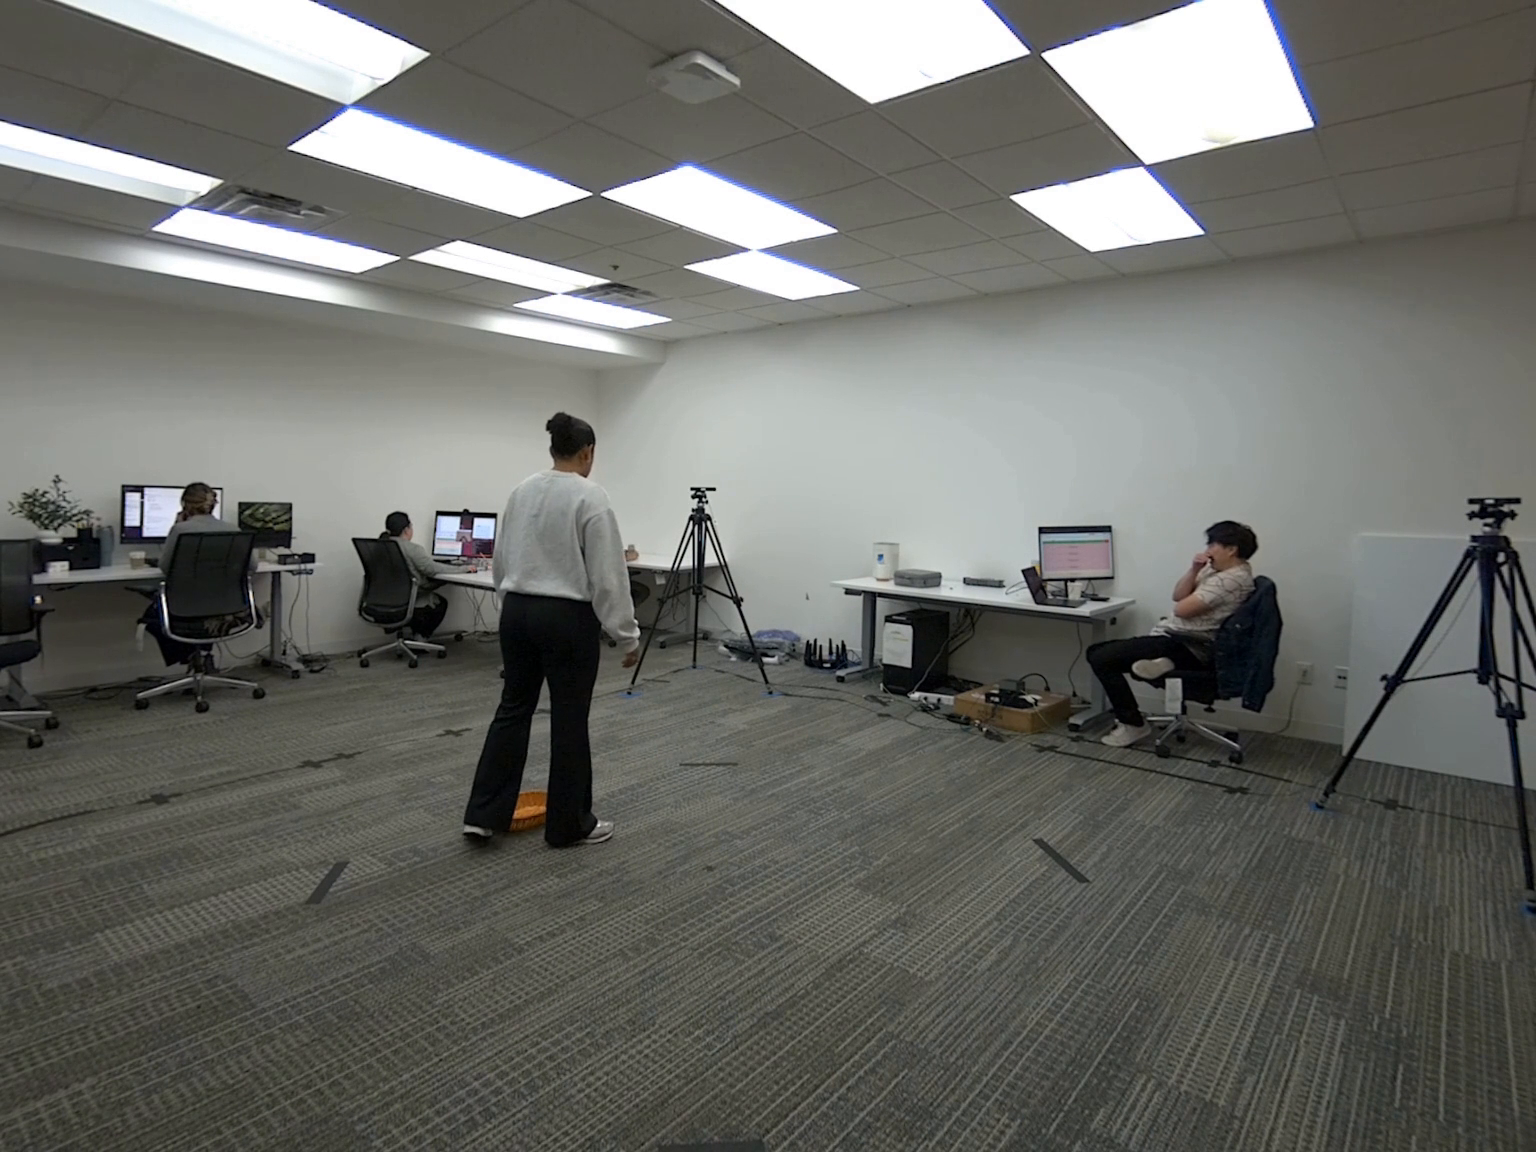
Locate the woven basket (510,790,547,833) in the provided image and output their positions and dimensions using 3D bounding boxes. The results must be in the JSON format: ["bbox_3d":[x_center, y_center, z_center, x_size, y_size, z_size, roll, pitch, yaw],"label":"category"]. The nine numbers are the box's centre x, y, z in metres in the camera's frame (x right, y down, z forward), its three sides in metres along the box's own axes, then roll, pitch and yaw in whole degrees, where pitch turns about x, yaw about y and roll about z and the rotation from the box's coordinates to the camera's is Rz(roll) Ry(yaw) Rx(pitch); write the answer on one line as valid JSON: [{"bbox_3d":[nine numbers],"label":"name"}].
[{"bbox_3d":[-1.002,0.973,3.544,0.340,0.073,0.261,-5,8,-44],"label":"woven basket"}]
